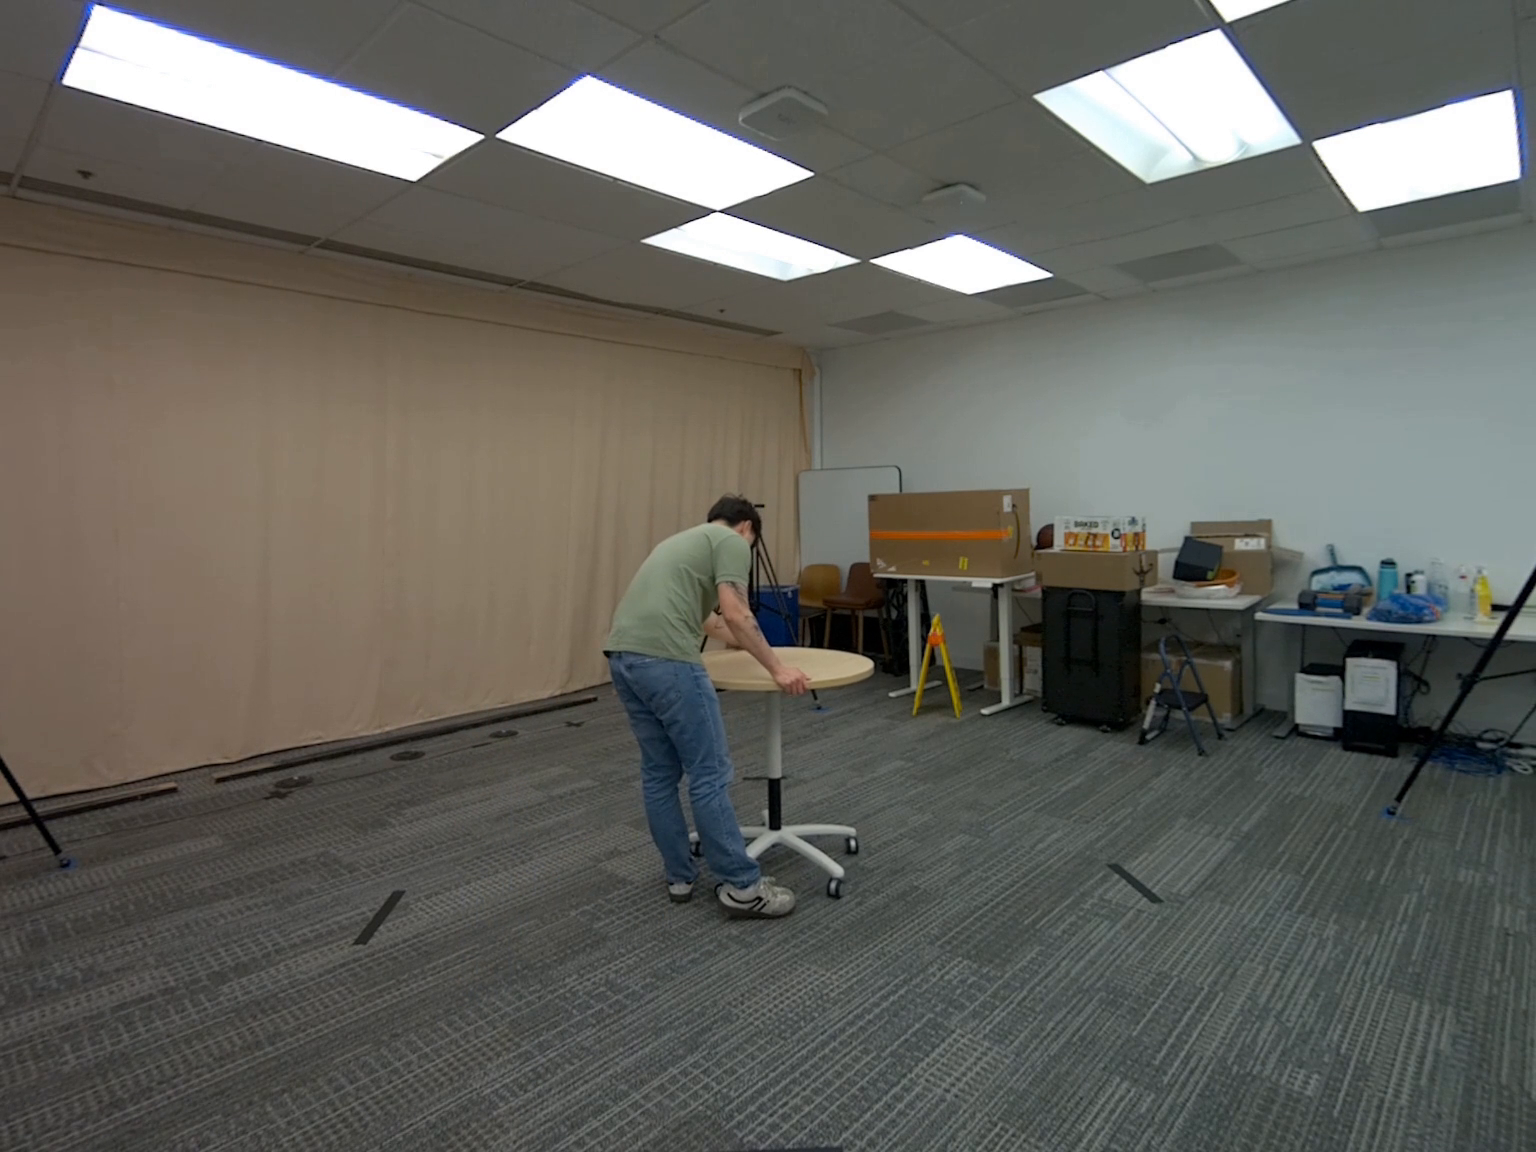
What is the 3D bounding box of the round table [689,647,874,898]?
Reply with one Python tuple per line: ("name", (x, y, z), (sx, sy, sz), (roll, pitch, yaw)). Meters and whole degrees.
("round table", (0.031, 0.727, 3.240), (0.763, 0.792, 0.766), (-1, 3, -2))
